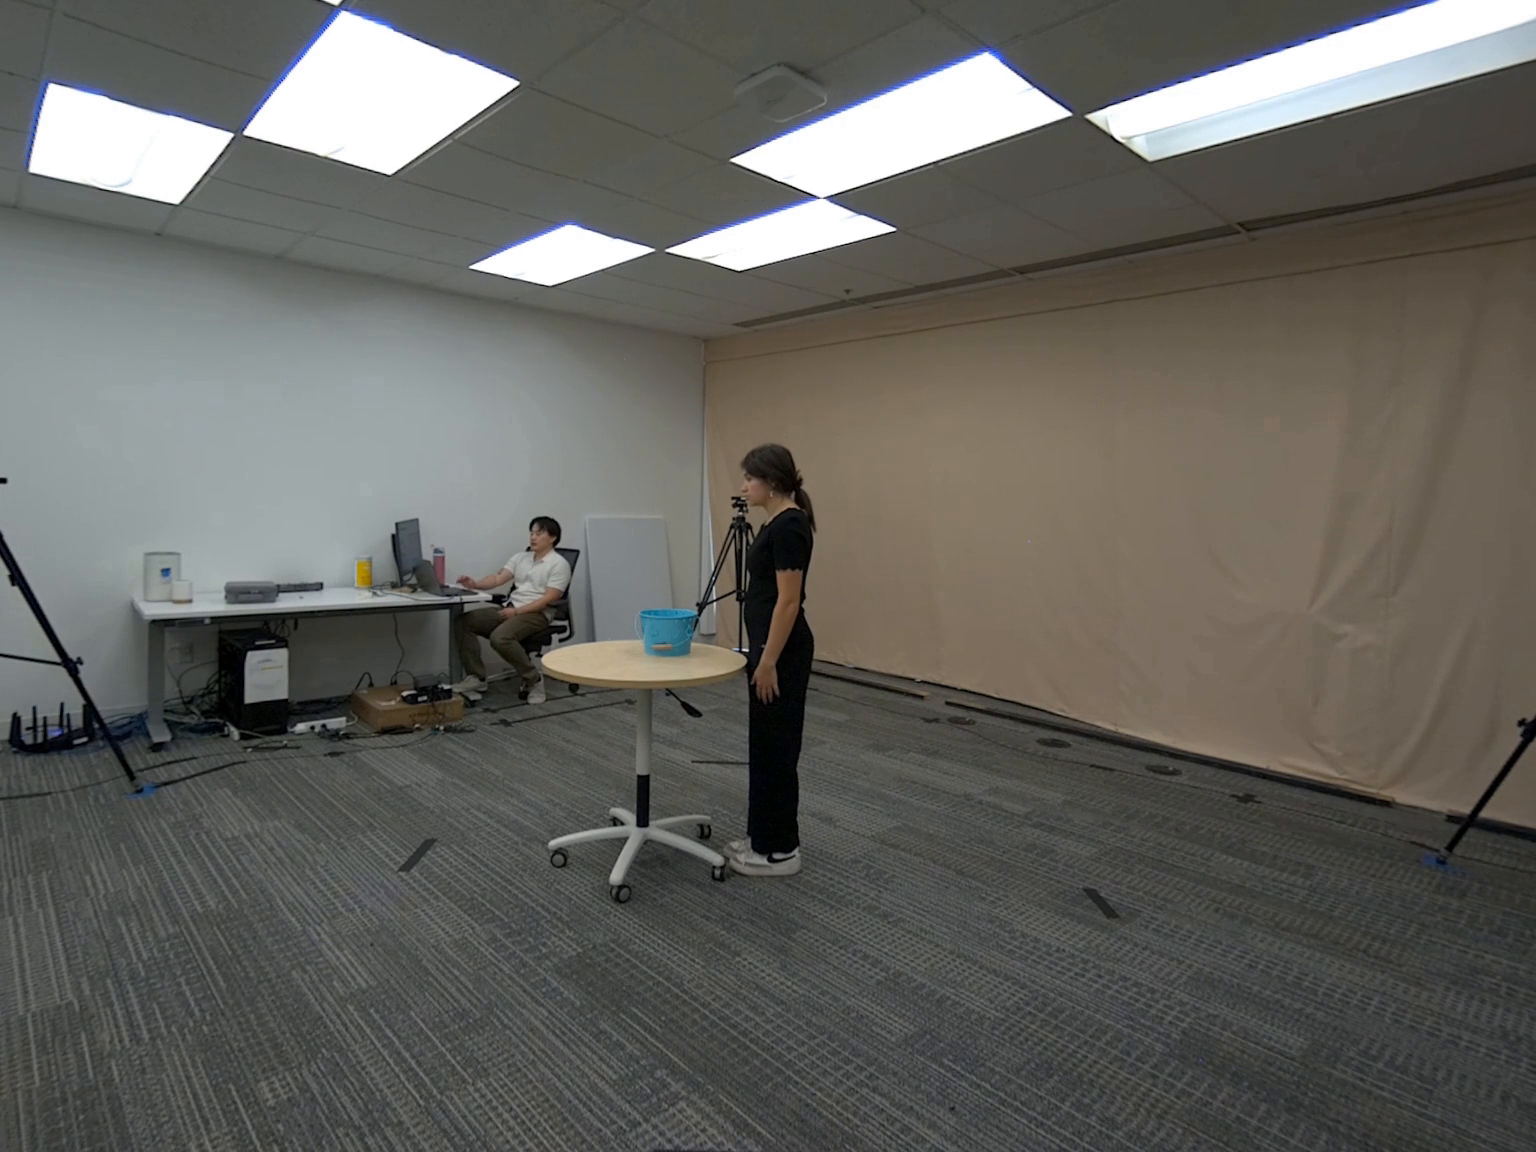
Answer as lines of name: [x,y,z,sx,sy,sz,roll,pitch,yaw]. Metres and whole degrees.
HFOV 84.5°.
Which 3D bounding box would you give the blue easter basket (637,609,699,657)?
blue easter basket: [-0.403,0.218,3.295,0.243,0.155,0.244,2,5,-1]
